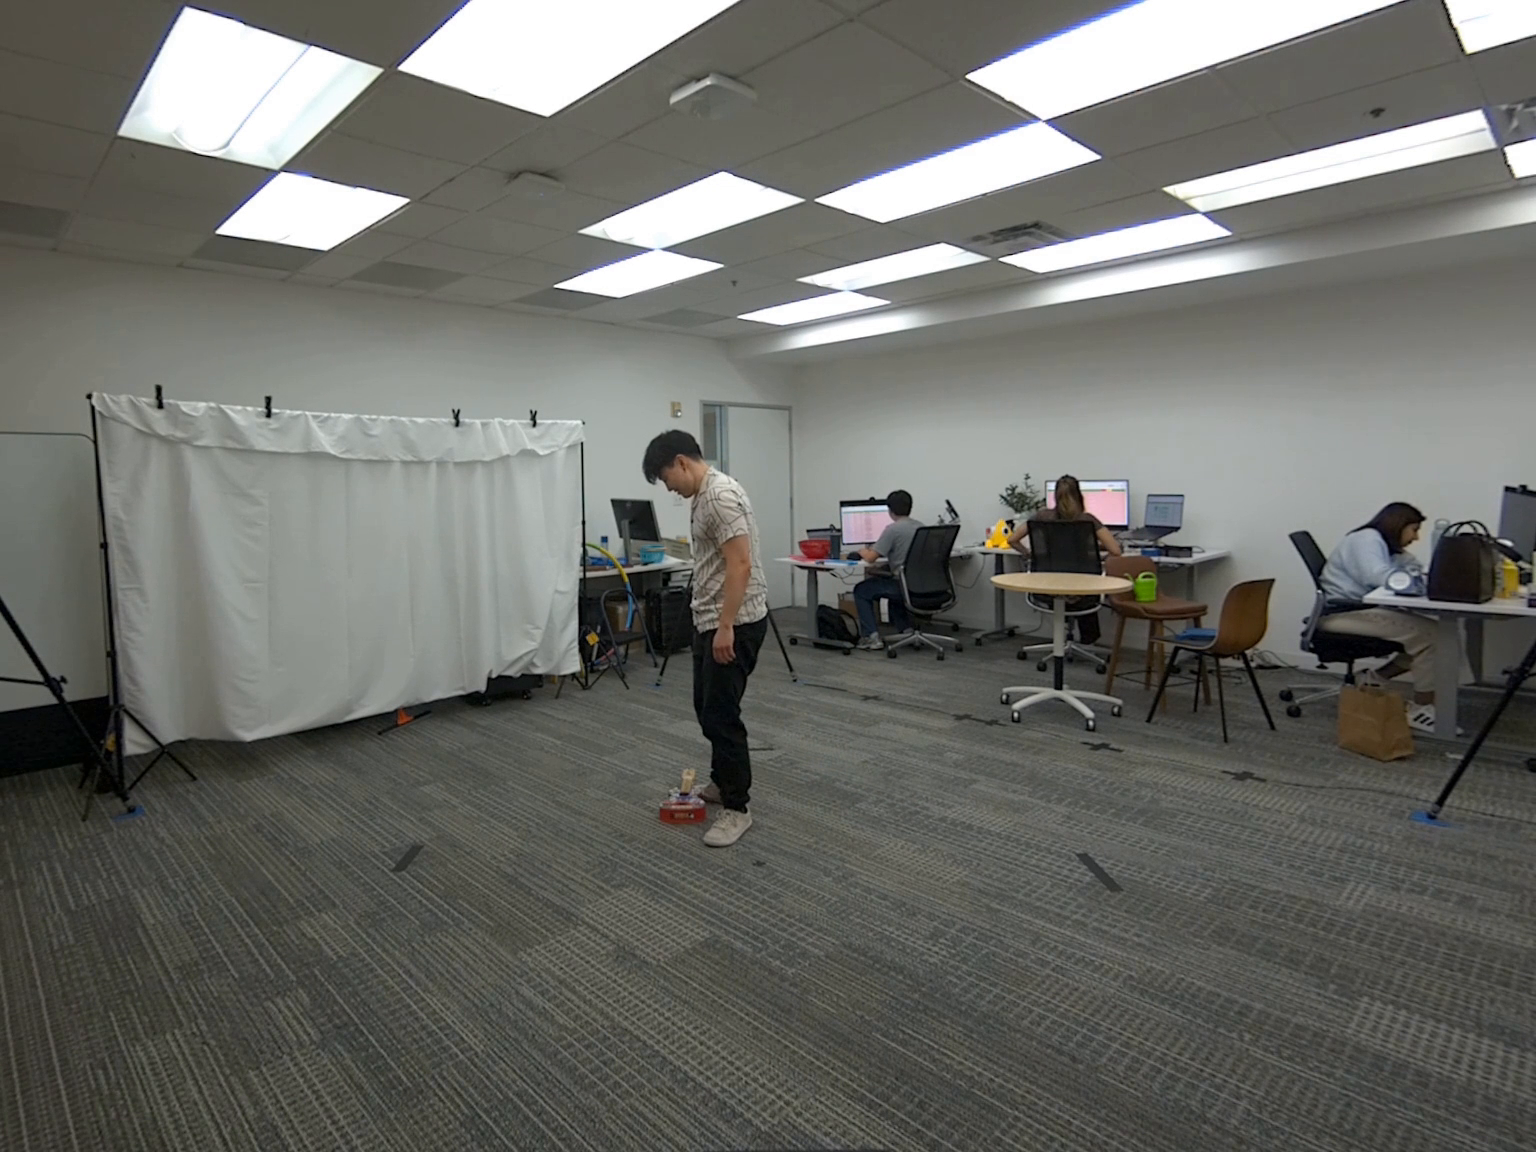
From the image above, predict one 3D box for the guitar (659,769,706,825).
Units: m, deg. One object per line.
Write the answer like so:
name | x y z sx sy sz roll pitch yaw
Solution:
guitar | -0.329 0.953 3.735 0.195 0.070 0.495 0 6 8
